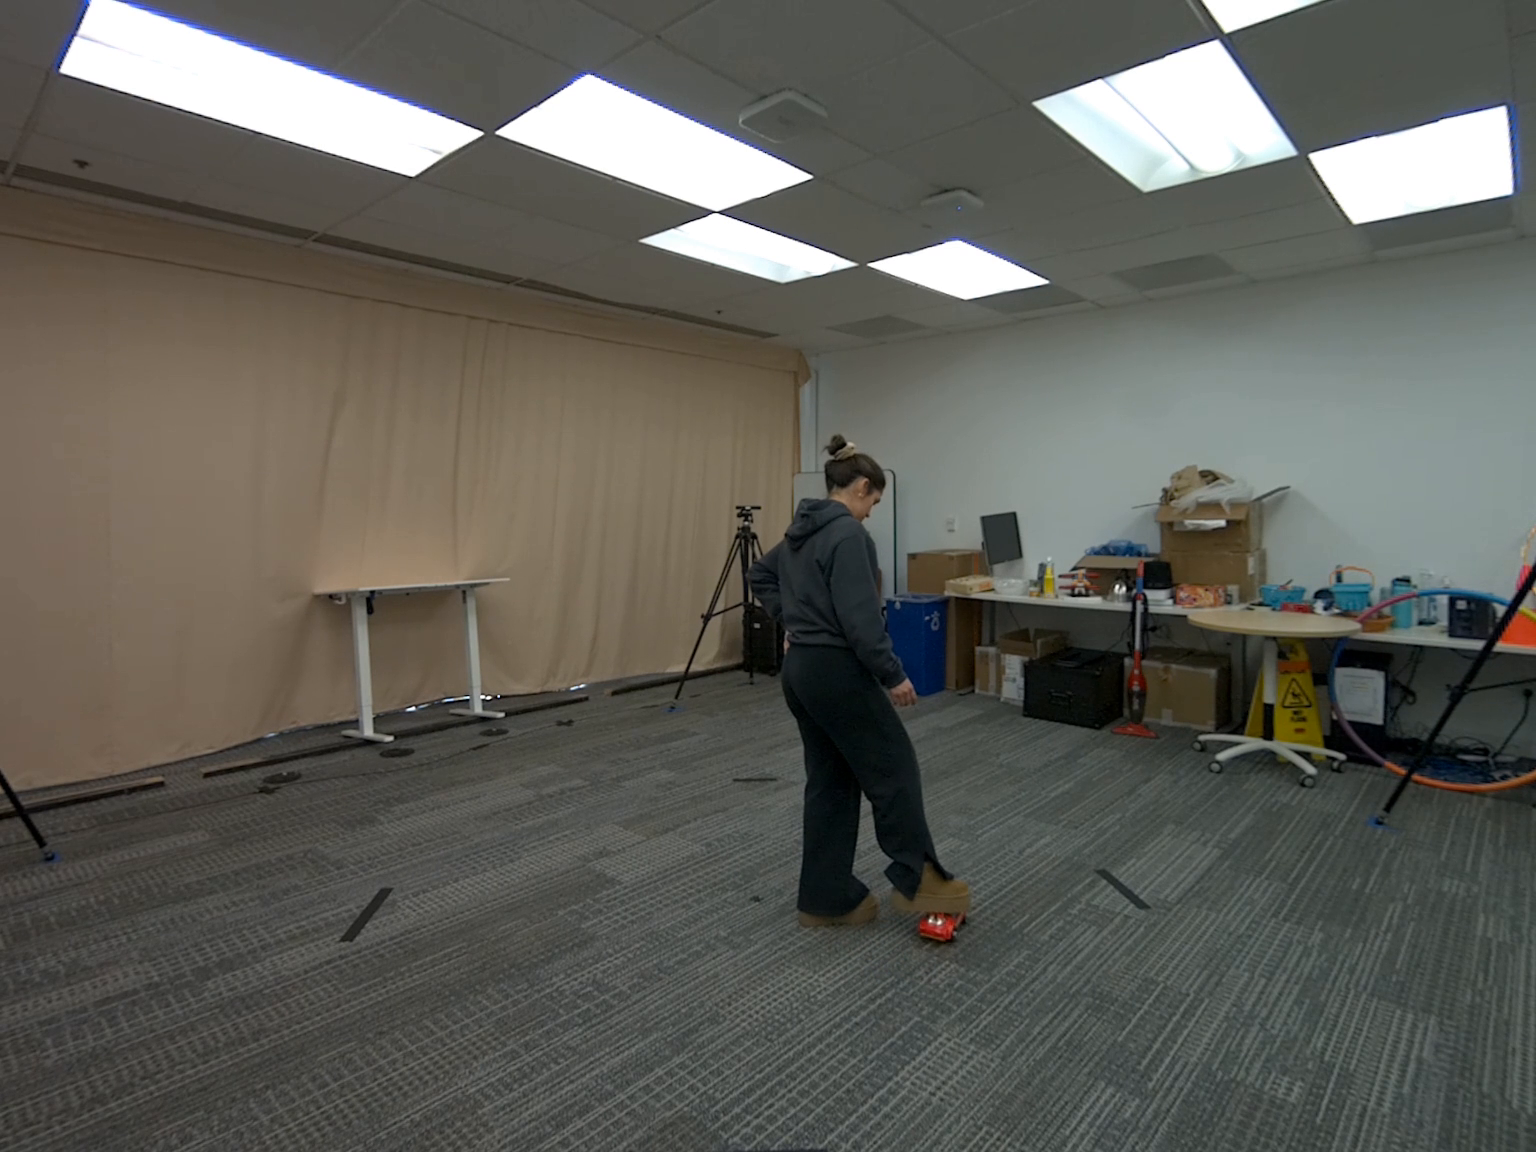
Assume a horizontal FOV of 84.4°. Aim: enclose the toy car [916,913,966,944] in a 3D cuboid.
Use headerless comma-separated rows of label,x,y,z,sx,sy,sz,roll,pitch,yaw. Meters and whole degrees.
toy car,0.590,1.125,2.741,0.134,0.083,0.246,1,-7,31
